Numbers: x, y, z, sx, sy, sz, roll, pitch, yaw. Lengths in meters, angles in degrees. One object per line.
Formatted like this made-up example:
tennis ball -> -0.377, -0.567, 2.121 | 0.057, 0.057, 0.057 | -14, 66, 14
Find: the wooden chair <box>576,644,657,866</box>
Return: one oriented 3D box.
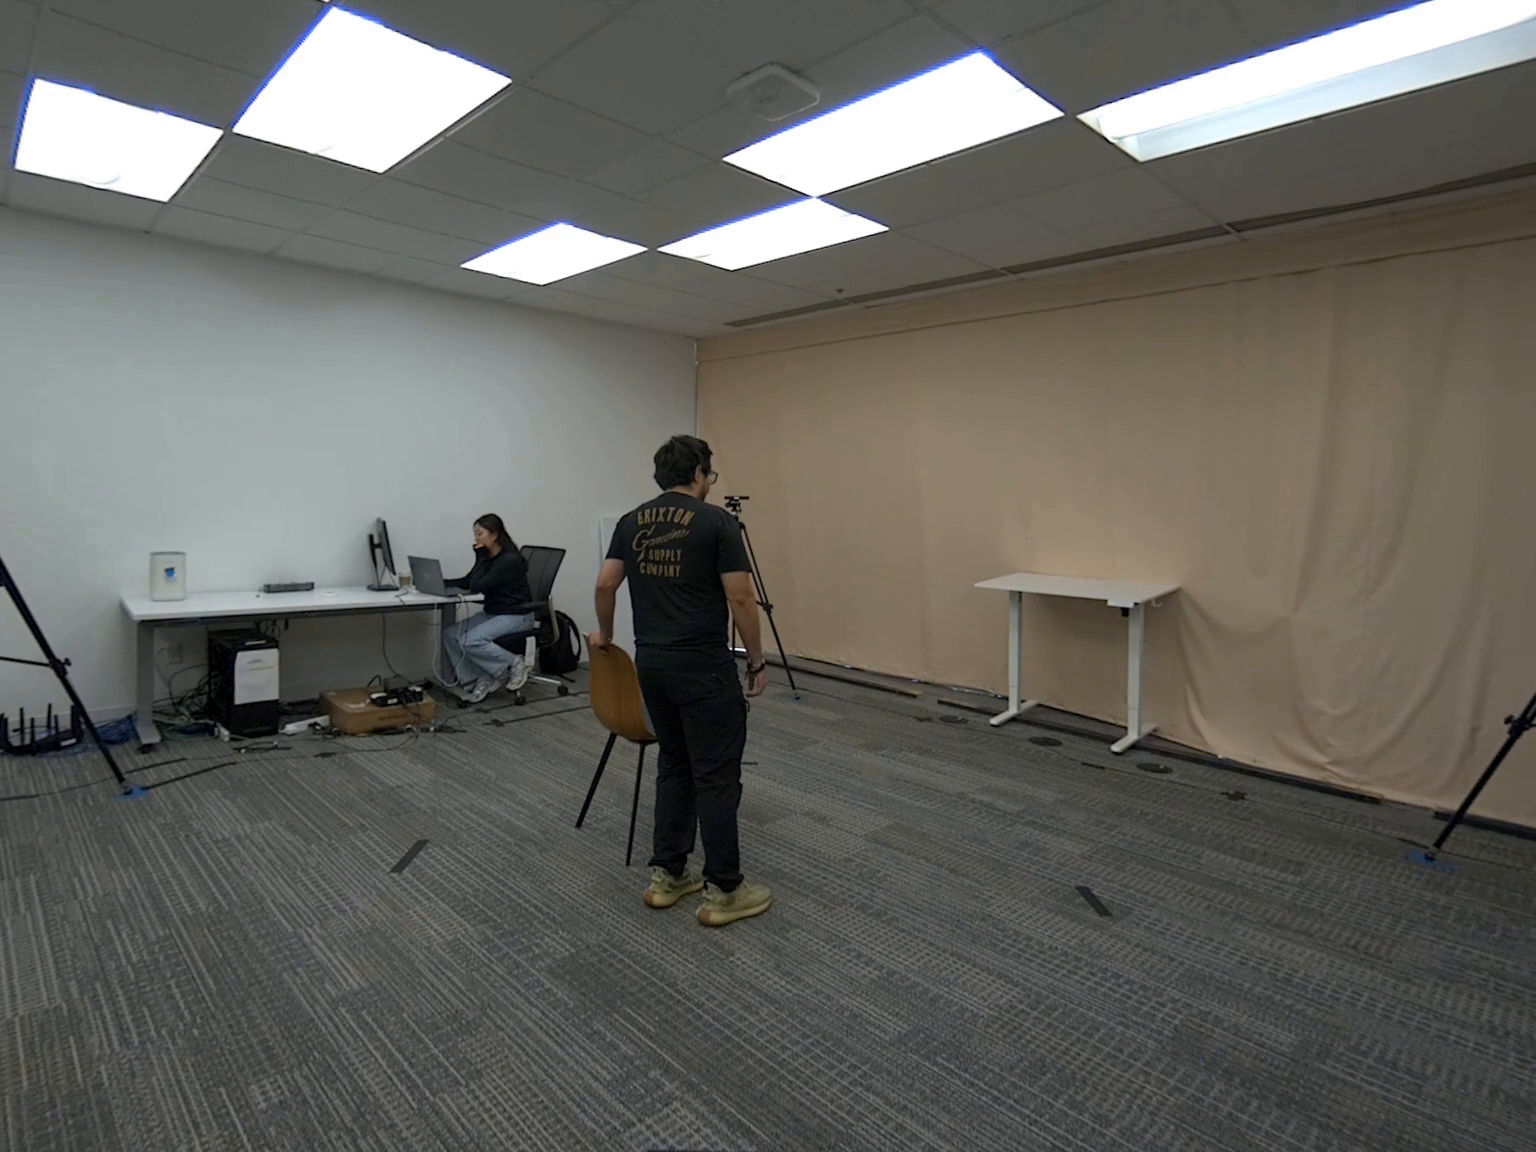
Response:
wooden chair -> -0.479, 0.641, 3.450 | 0.512, 0.873, 0.490 | -6, 8, -37
